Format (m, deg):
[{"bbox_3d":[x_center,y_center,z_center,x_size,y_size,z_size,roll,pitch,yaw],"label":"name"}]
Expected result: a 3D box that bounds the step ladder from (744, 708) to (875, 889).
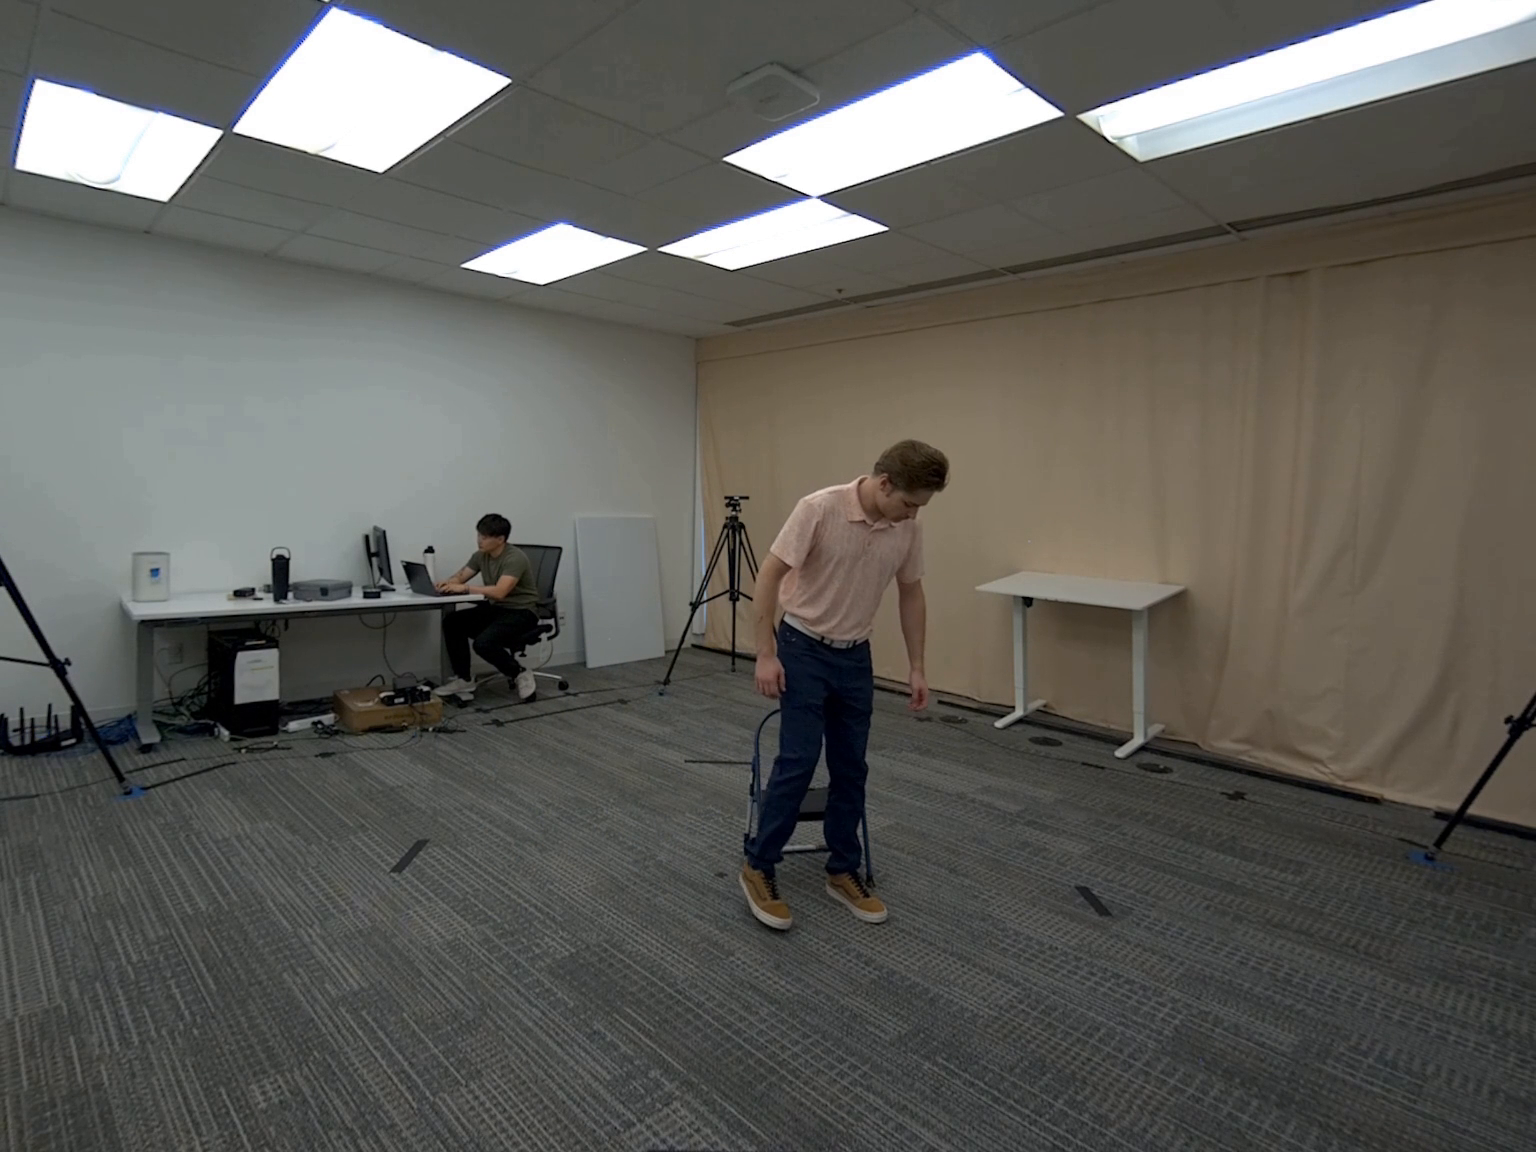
[{"bbox_3d":[0.151,0.810,3.150,0.426,0.604,0.353,1,4,-12],"label":"step ladder"}]
